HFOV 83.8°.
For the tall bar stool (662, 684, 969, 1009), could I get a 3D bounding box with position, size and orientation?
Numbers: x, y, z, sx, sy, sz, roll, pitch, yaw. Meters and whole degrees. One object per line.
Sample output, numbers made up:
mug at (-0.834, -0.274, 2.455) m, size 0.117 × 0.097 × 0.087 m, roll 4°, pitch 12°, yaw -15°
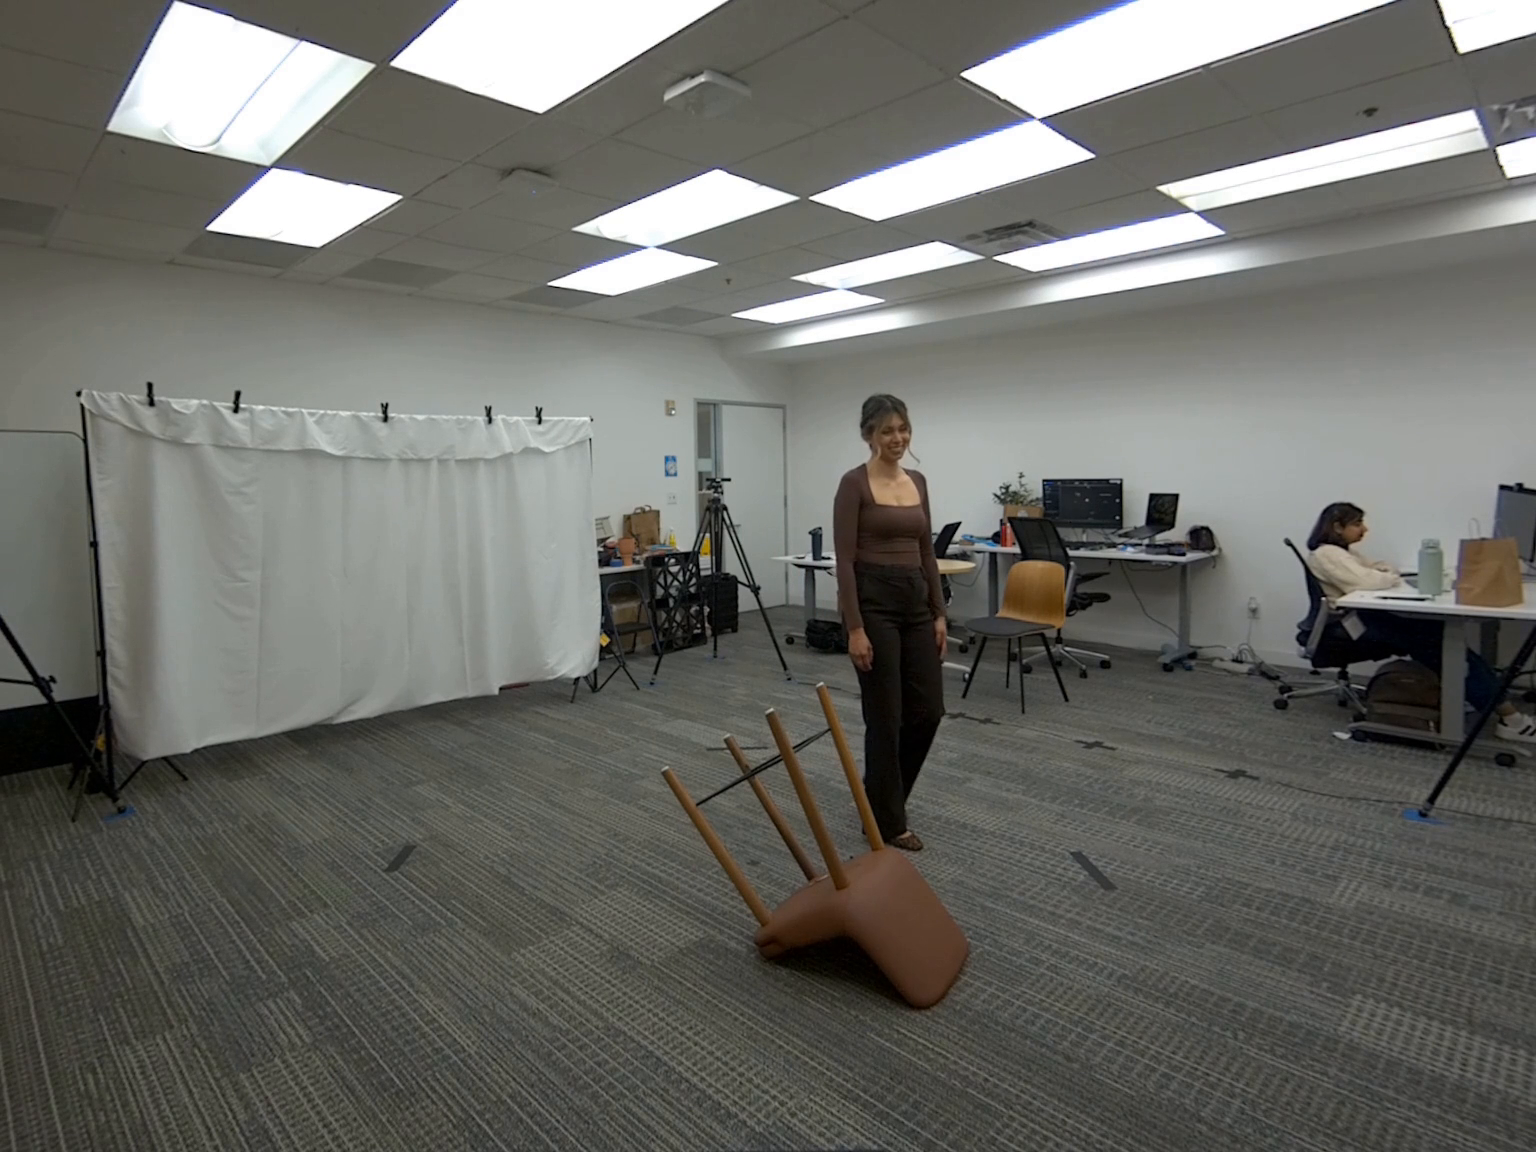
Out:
tall bar stool at (0.147, 0.848, 2.590) m, size 0.470 × 0.905 × 0.446 m, roll -38°, pitch -14°, yaw 27°
